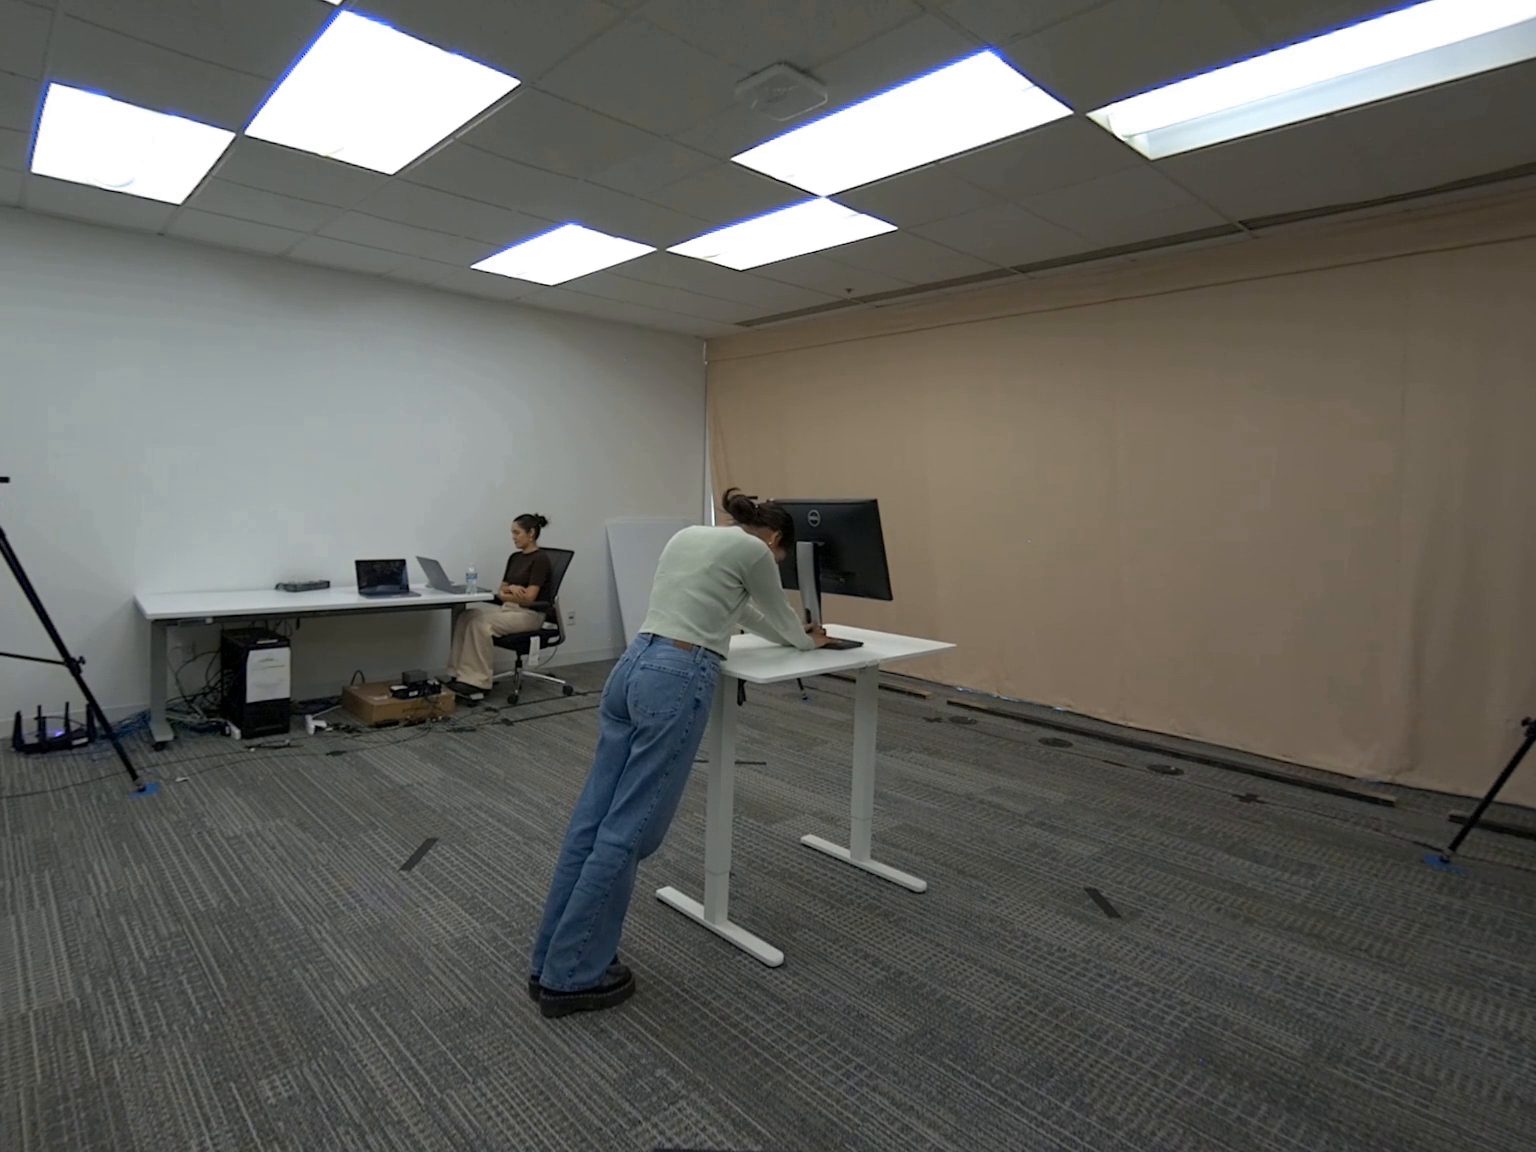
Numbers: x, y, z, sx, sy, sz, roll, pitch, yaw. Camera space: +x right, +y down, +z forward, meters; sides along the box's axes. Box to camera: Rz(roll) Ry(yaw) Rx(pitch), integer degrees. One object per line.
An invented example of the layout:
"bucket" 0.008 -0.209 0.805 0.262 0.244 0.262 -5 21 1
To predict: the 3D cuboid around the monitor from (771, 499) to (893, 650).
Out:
"monitor" 0.178 -0.012 2.972 0.183 0.521 0.553 -4 6 -43
